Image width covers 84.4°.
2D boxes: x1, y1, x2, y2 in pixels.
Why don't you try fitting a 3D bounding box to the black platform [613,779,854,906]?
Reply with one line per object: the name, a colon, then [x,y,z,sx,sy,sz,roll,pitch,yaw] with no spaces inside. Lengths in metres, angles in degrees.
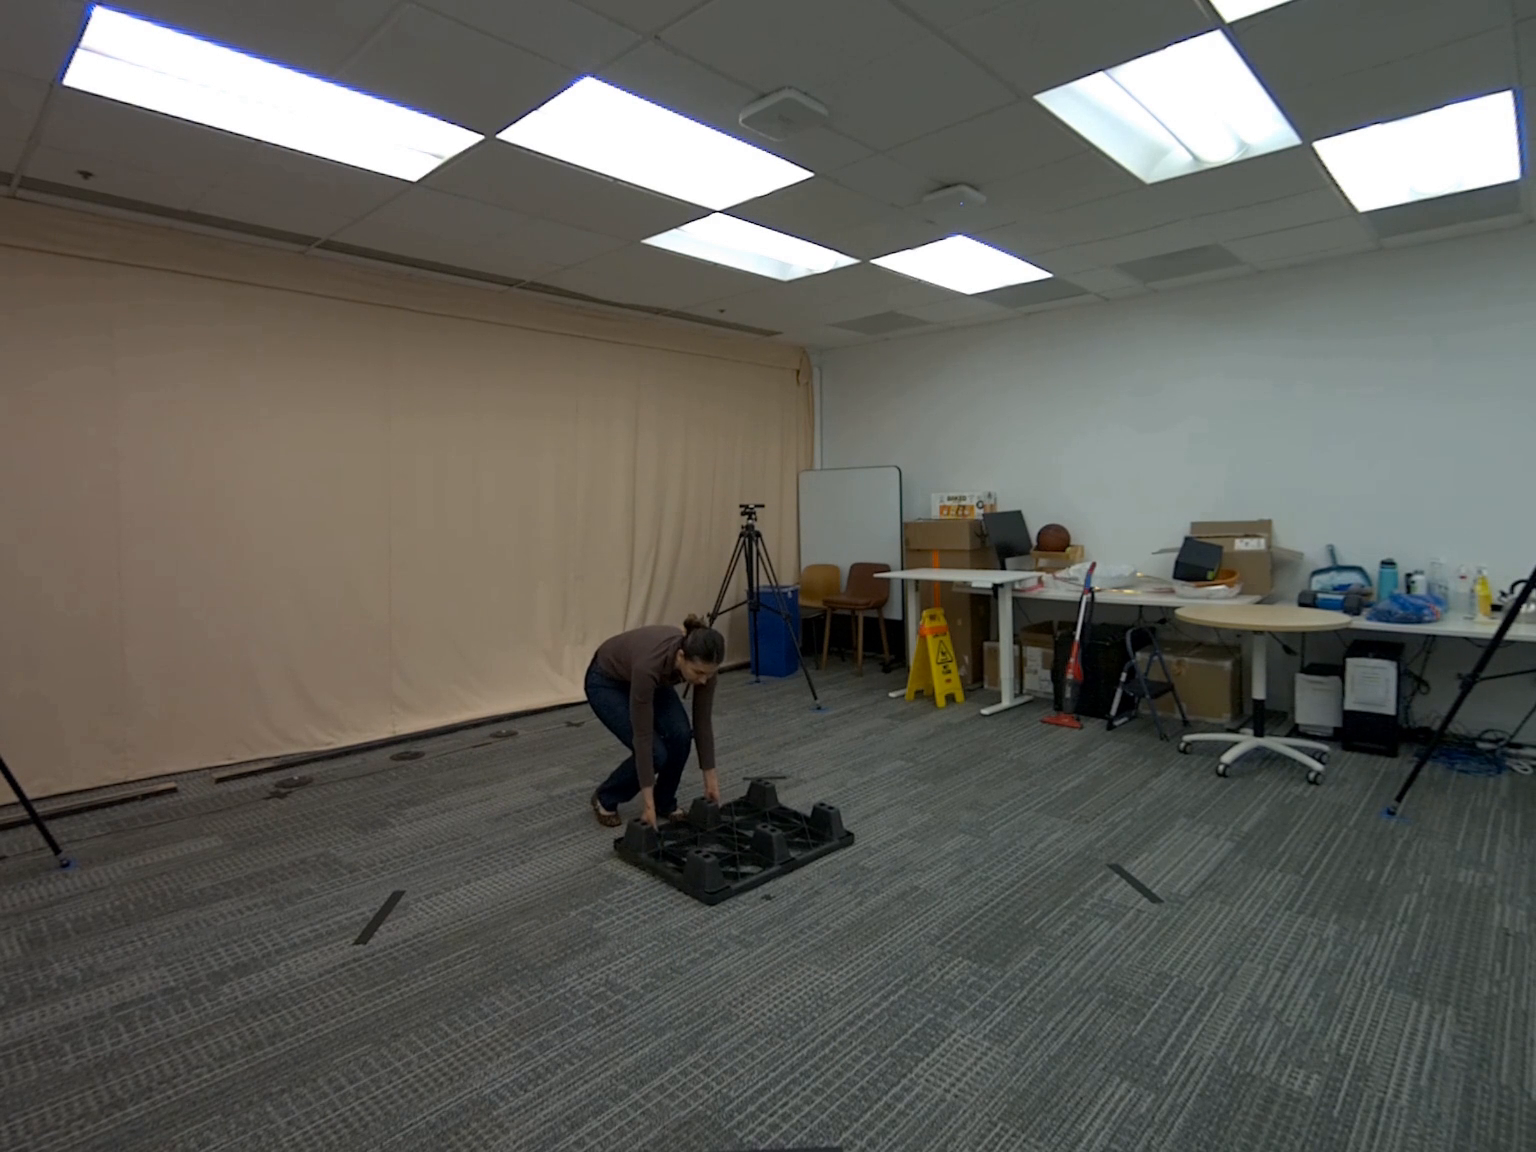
black platform: [-0.125,1.028,3.385,0.781,0.143,0.626,-6,9,-44]
